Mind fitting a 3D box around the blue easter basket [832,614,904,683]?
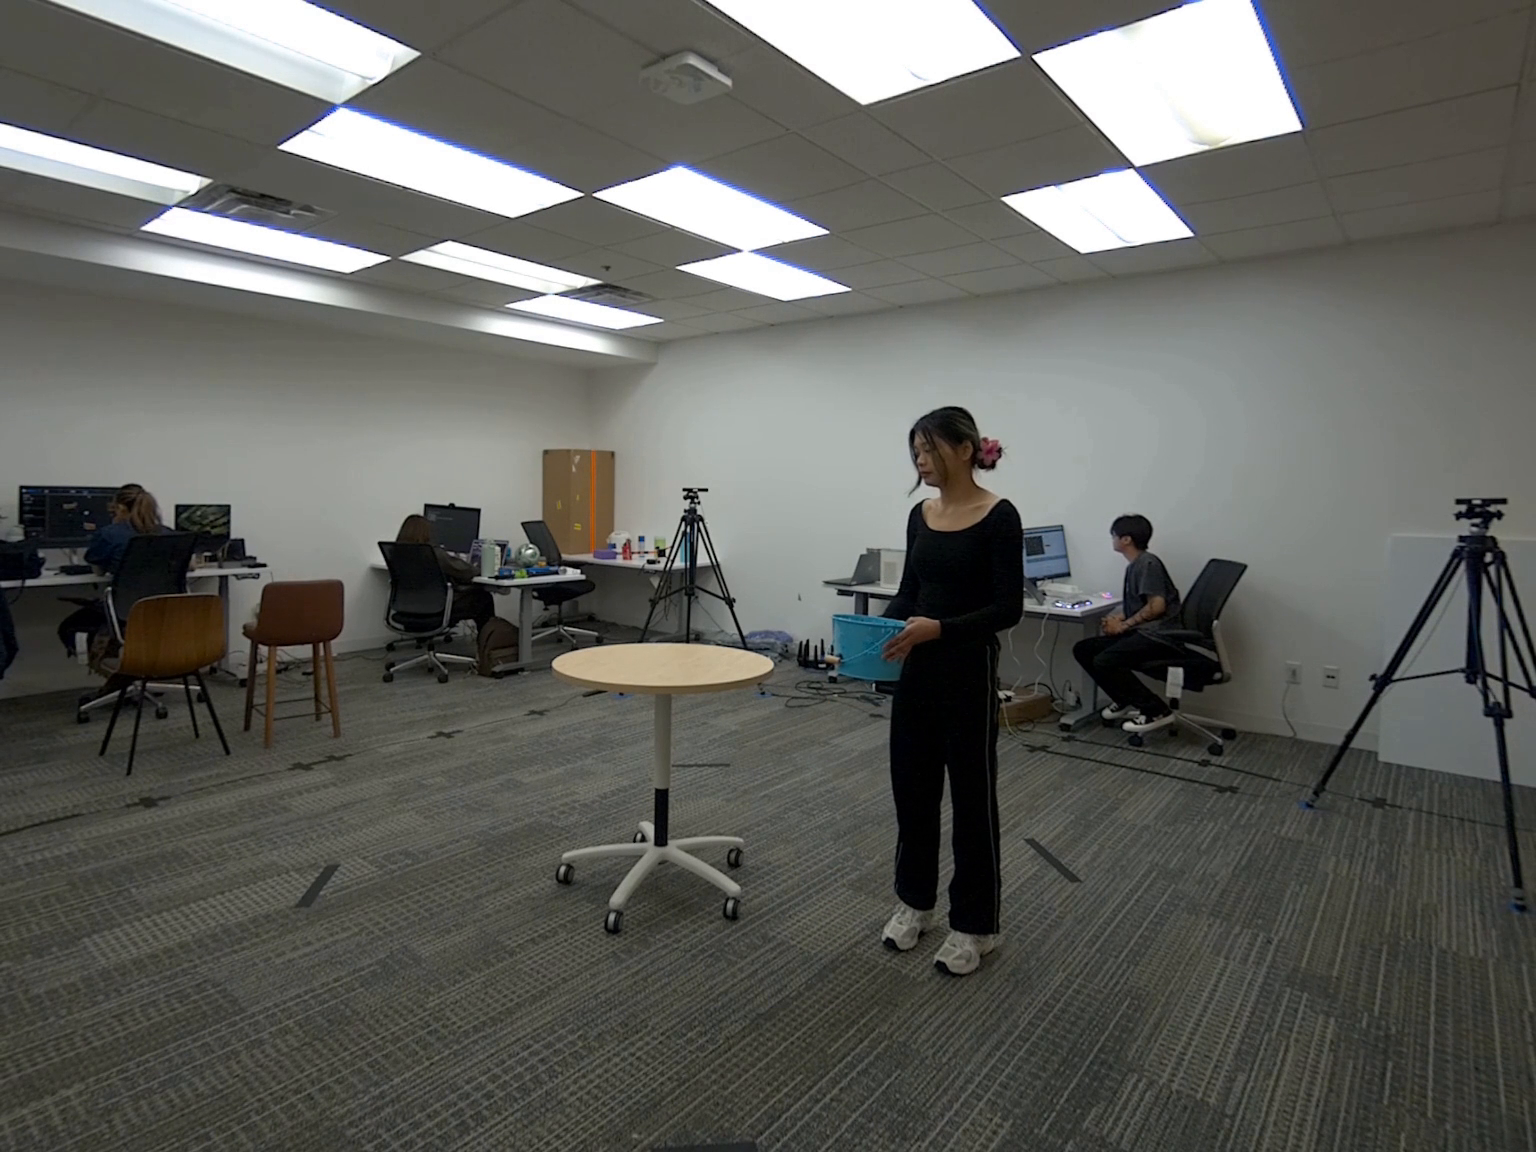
[{"bbox_3d":[0.284,0.201,2.374,0.243,0.156,0.244,4,2,-2],"label":"blue easter basket"}]
